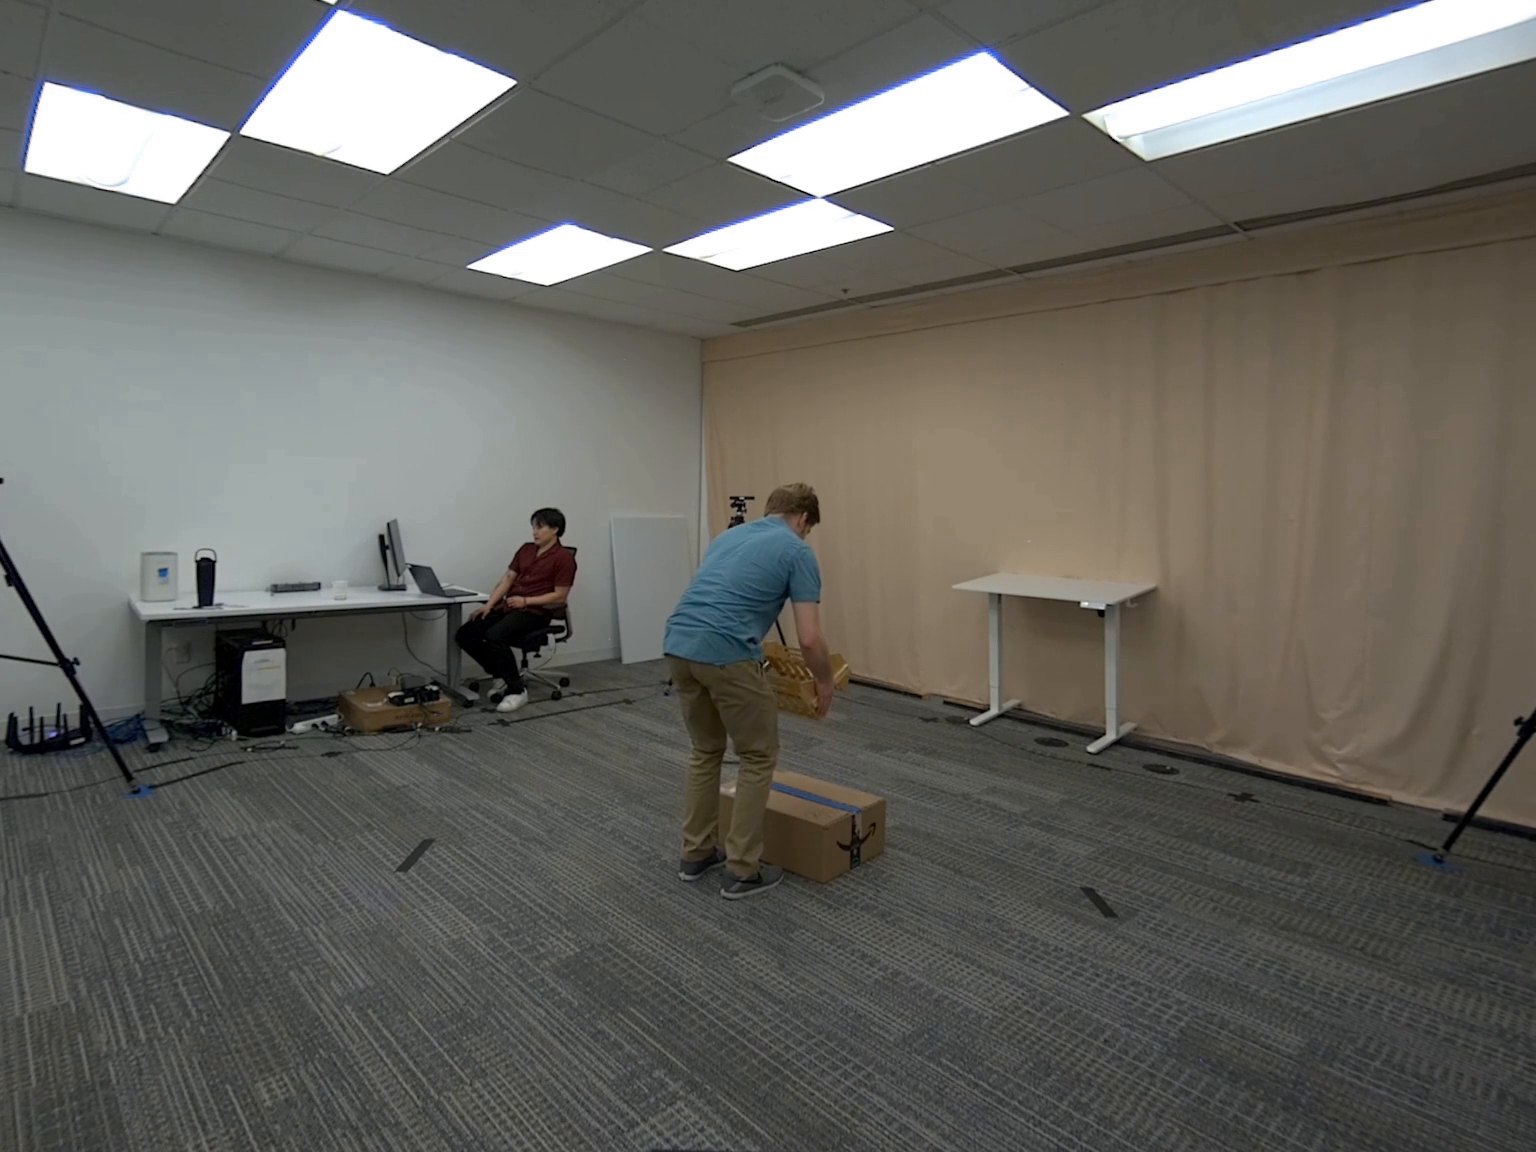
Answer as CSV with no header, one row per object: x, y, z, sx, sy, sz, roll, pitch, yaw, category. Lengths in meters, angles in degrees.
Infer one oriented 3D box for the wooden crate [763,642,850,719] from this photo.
0.098,0.379,3.308,0.333,0.275,0.292,8,-31,36,wooden crate
